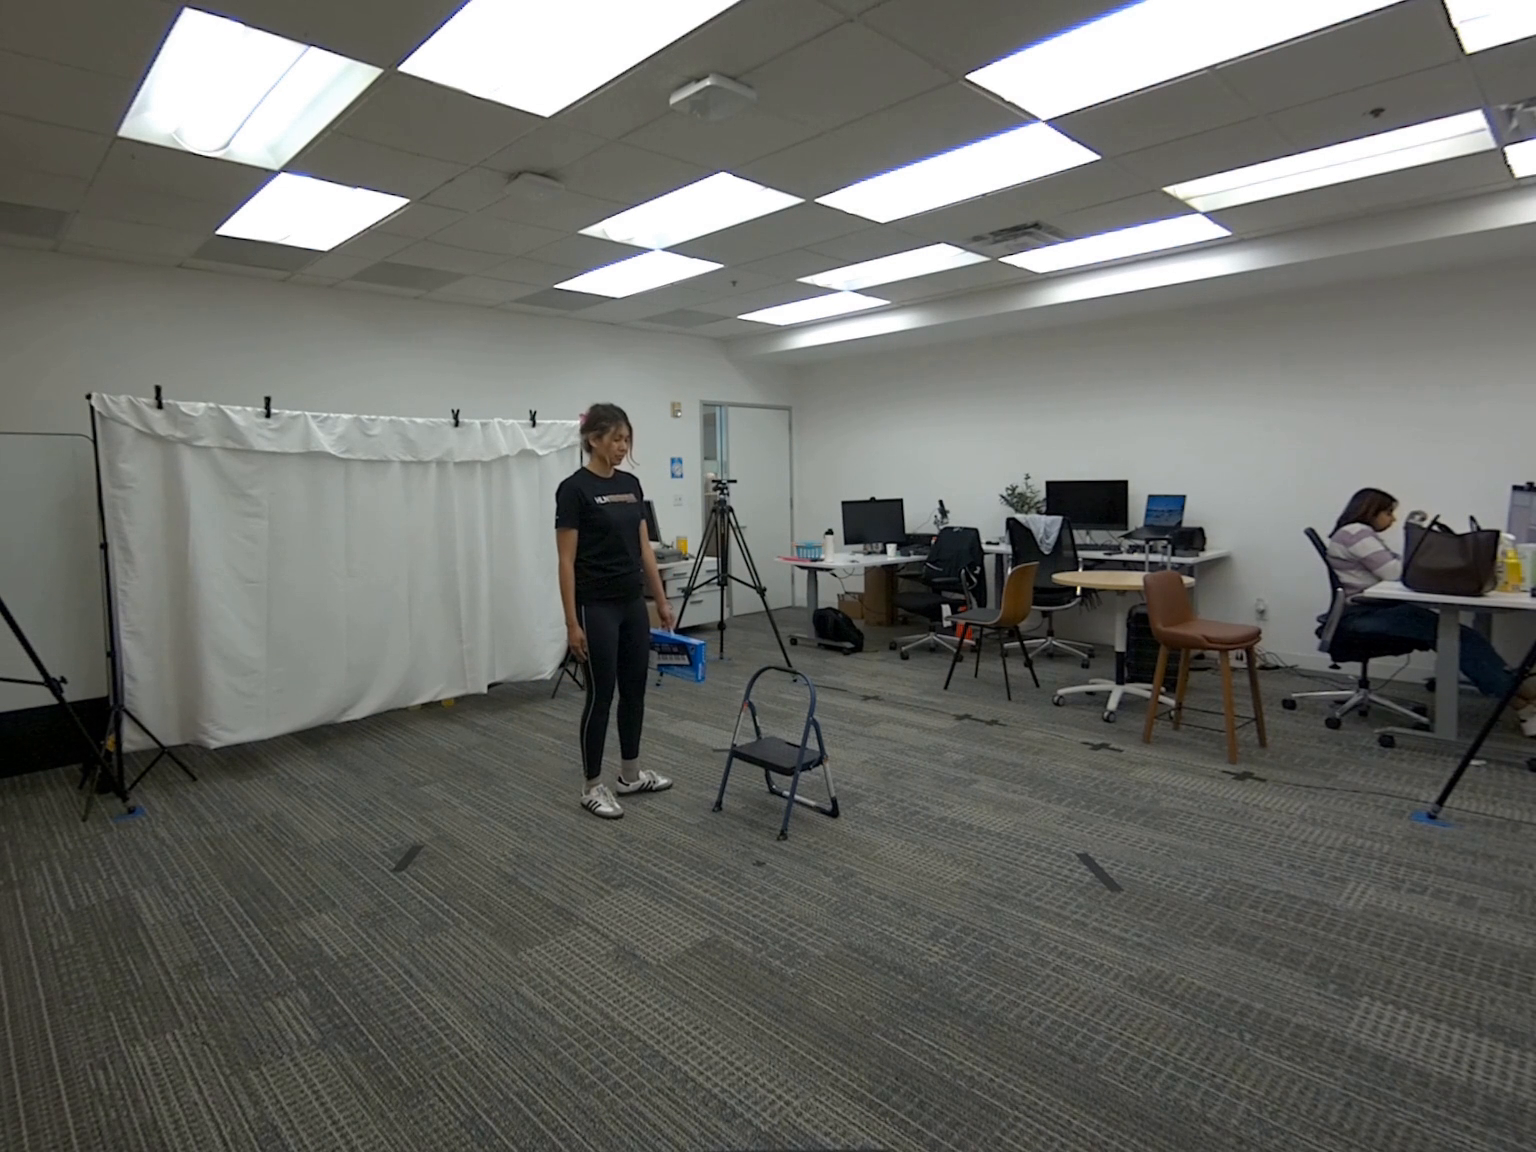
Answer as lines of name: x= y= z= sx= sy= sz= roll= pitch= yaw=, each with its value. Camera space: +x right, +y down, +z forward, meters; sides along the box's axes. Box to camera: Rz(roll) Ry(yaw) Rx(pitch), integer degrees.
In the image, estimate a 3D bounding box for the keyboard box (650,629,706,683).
keyboard box: x=-0.461 y=0.343 z=3.823 sx=0.451 sy=0.175 sz=0.057 roll=9 pitch=11 yaw=38
